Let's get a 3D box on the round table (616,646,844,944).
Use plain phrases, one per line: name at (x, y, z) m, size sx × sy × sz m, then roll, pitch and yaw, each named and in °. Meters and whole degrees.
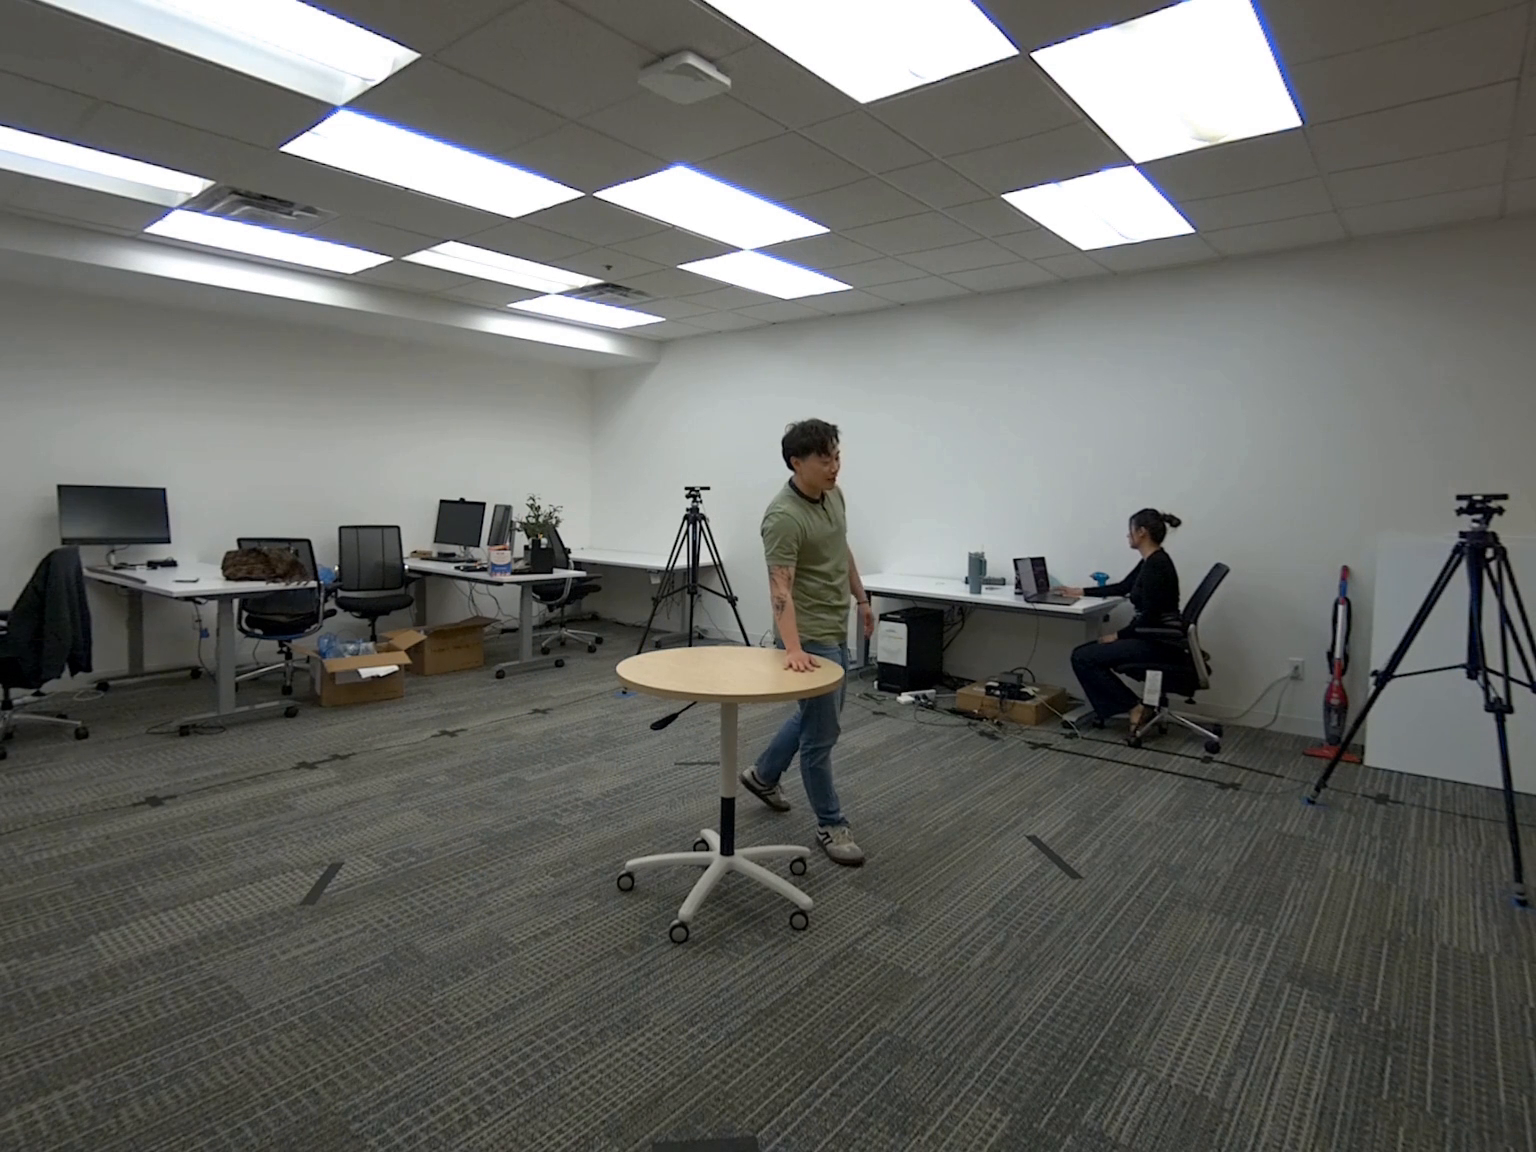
round table at (-0.146, 0.700, 2.890) m, size 0.763 × 0.791 × 0.768 m, roll 1°, pitch 4°, yaw -2°
